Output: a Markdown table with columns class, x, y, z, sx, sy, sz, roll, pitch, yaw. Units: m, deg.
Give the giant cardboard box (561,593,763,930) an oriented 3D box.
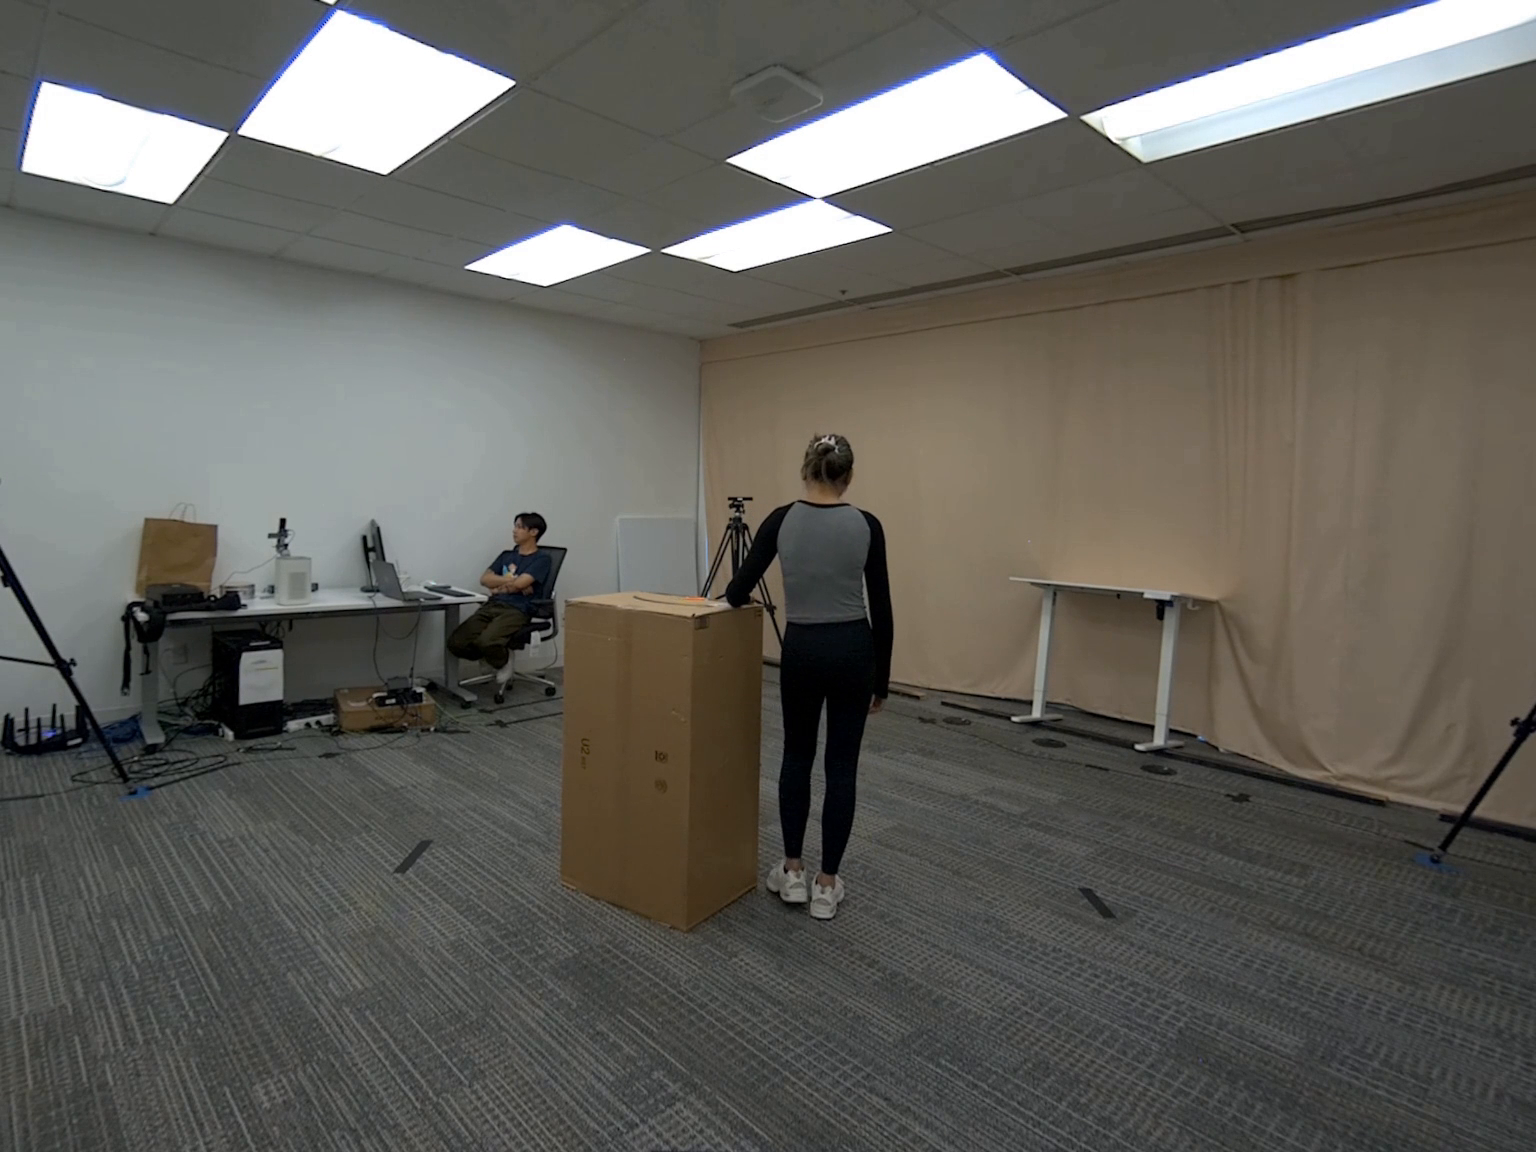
| class | x | y | z | sx | sy | sz | roll | pitch | yaw |
| --- | --- | --- | --- | --- | --- | --- | --- | --- | --- |
| giant cardboard box | -0.387 | 0.601 | 3.001 | 0.591 | 1.023 | 0.417 | 4 | 4 | 34 |
